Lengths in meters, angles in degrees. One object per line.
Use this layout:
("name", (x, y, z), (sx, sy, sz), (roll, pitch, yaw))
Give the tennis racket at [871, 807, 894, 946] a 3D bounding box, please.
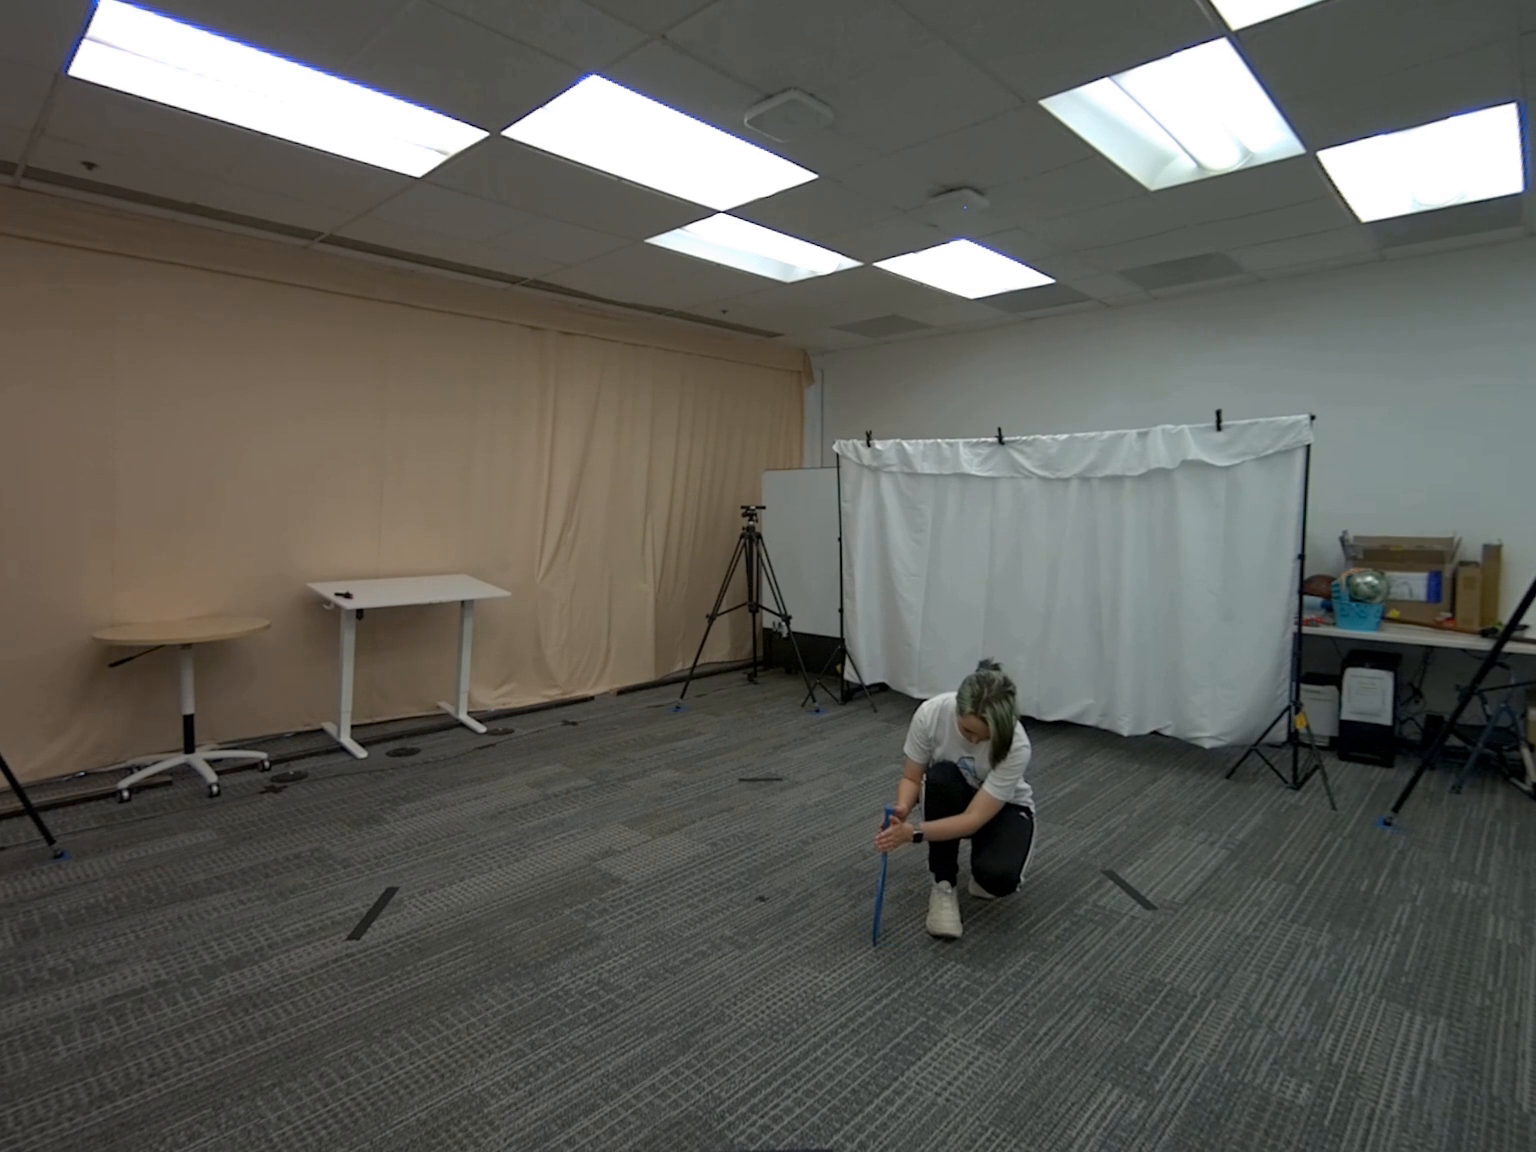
("tennis racket", (0.370, 0.960, 2.690), (0.032, 0.433, 0.209), (5, -1, 15))
